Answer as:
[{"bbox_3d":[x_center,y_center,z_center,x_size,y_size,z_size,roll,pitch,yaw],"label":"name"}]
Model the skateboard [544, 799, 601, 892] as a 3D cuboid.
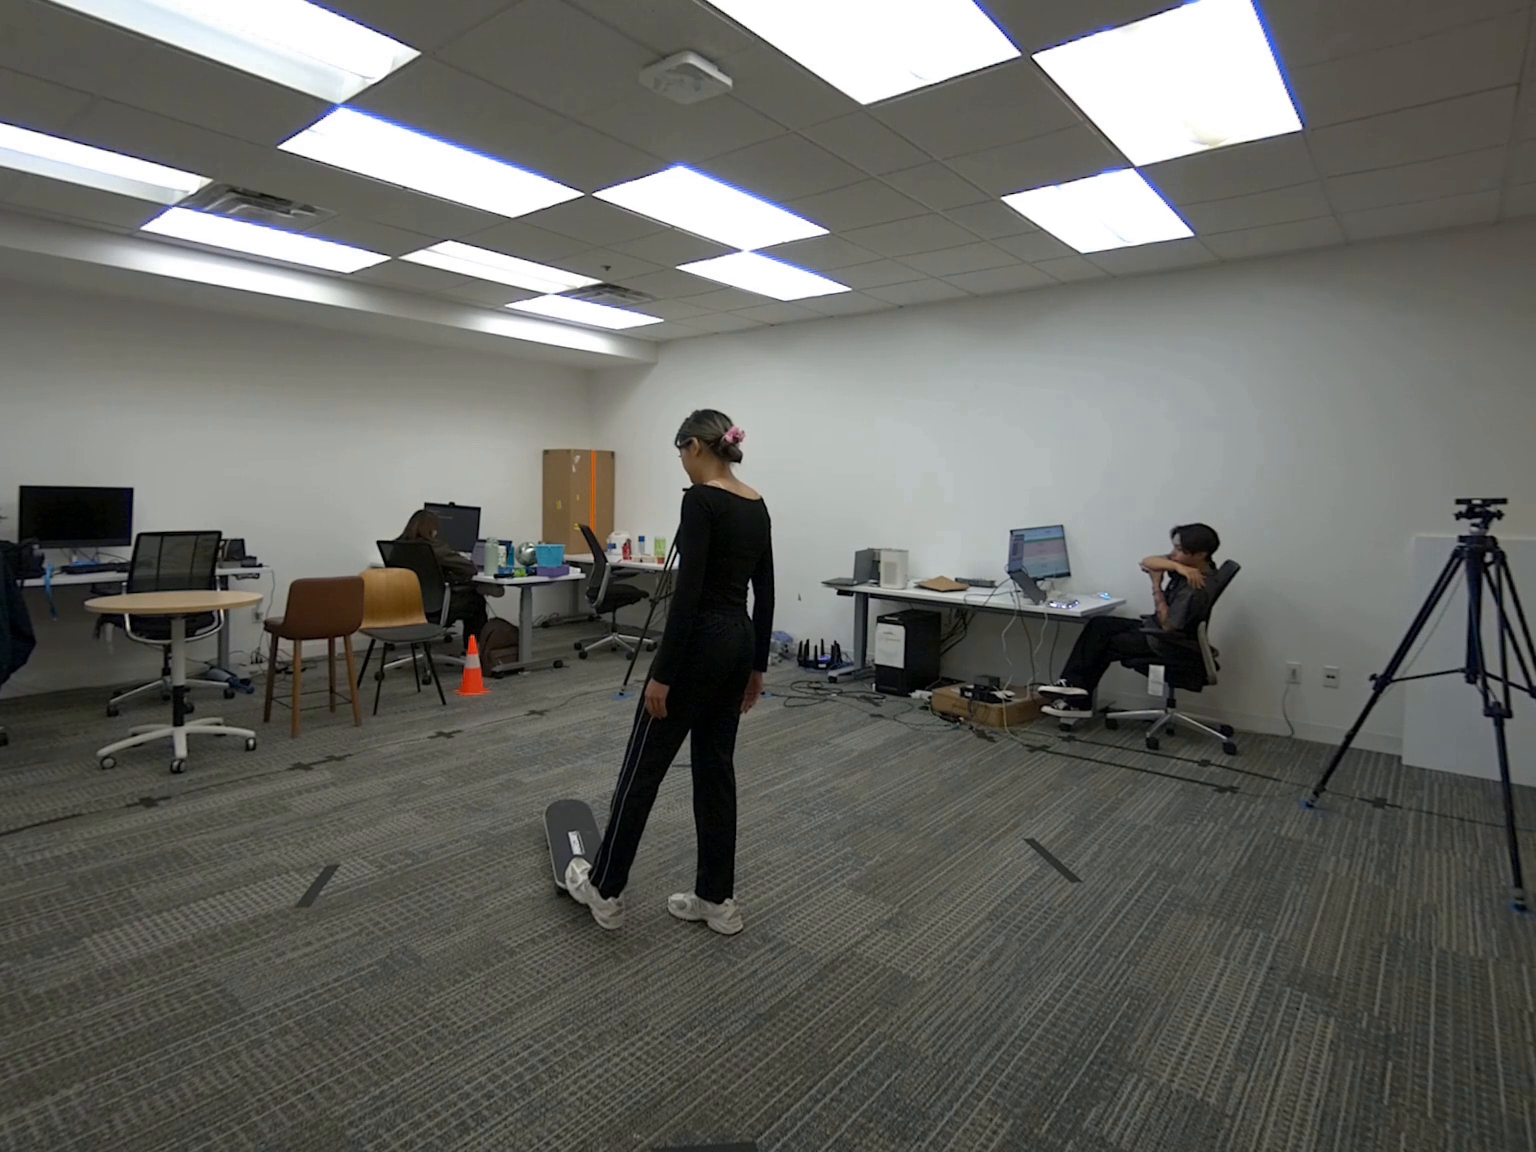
[{"bbox_3d":[-0.718,1.003,3.107,0.190,0.110,0.803,1,6,-18],"label":"skateboard"}]
